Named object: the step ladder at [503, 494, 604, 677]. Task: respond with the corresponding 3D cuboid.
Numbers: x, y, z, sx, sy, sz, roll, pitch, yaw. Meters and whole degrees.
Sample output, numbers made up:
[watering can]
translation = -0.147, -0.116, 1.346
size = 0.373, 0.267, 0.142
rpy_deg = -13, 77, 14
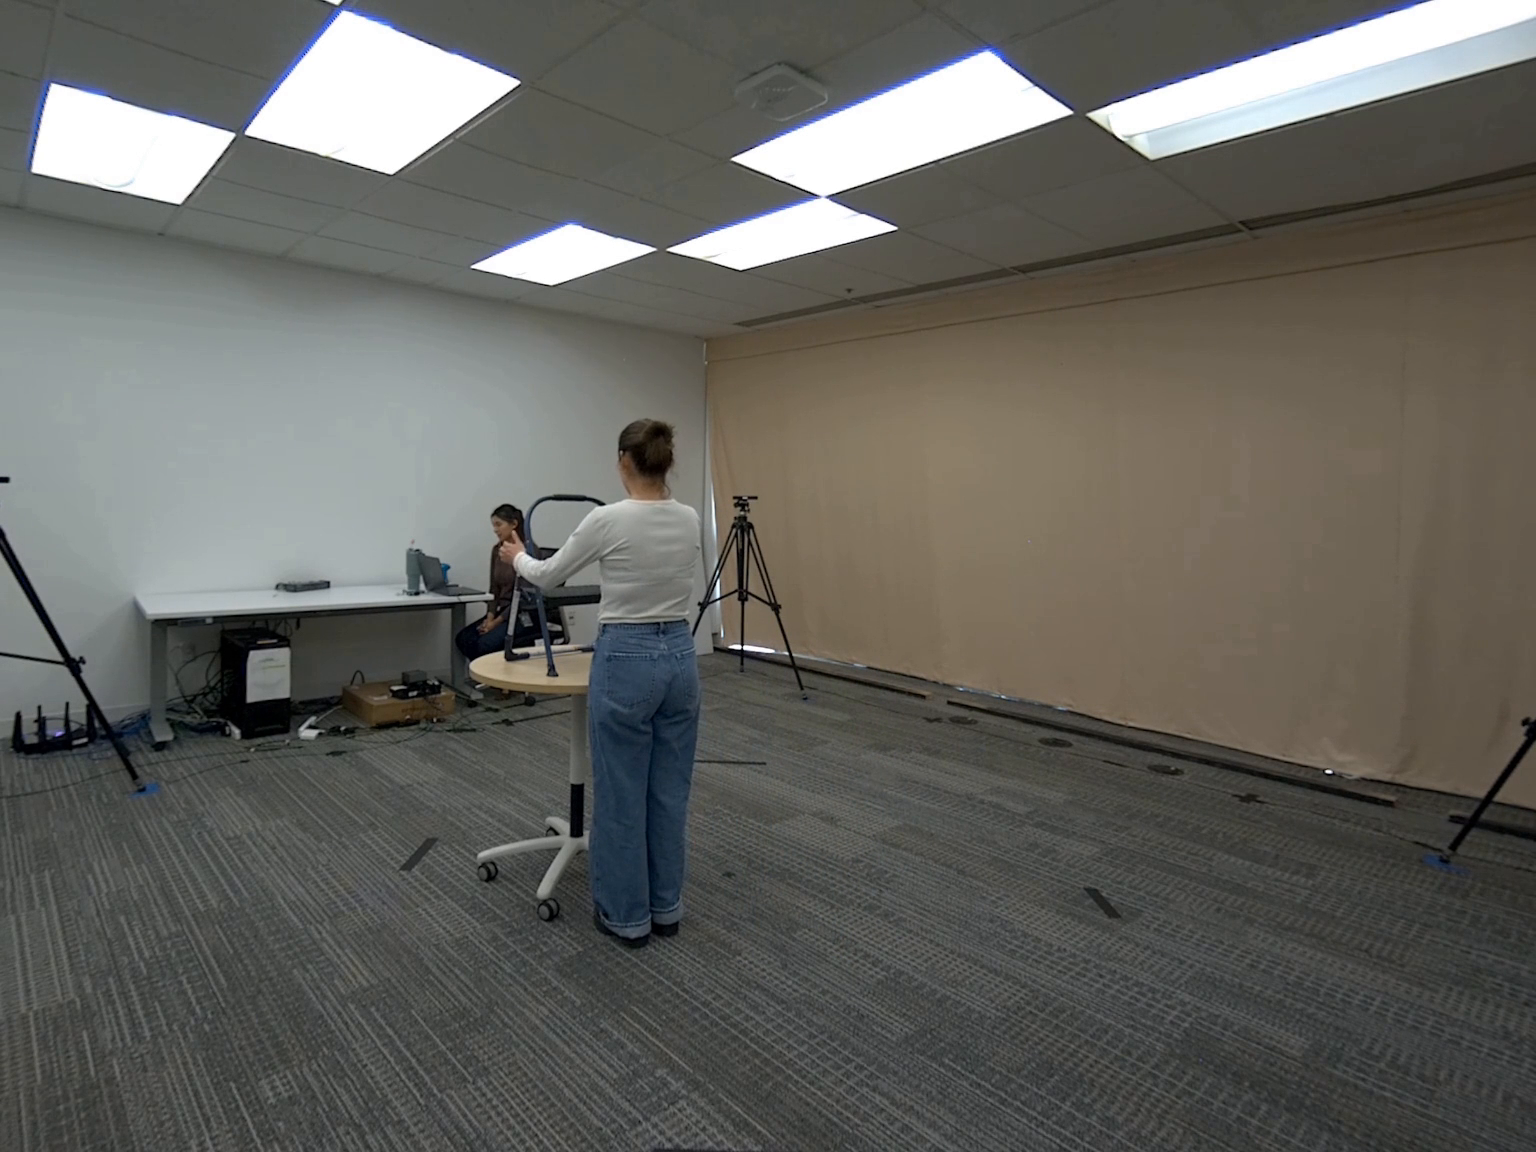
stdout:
[step ladder]
translation = -0.685, 0.013, 3.047
size = 0.358, 0.604, 0.420
rpy_deg = 6, 5, 44
